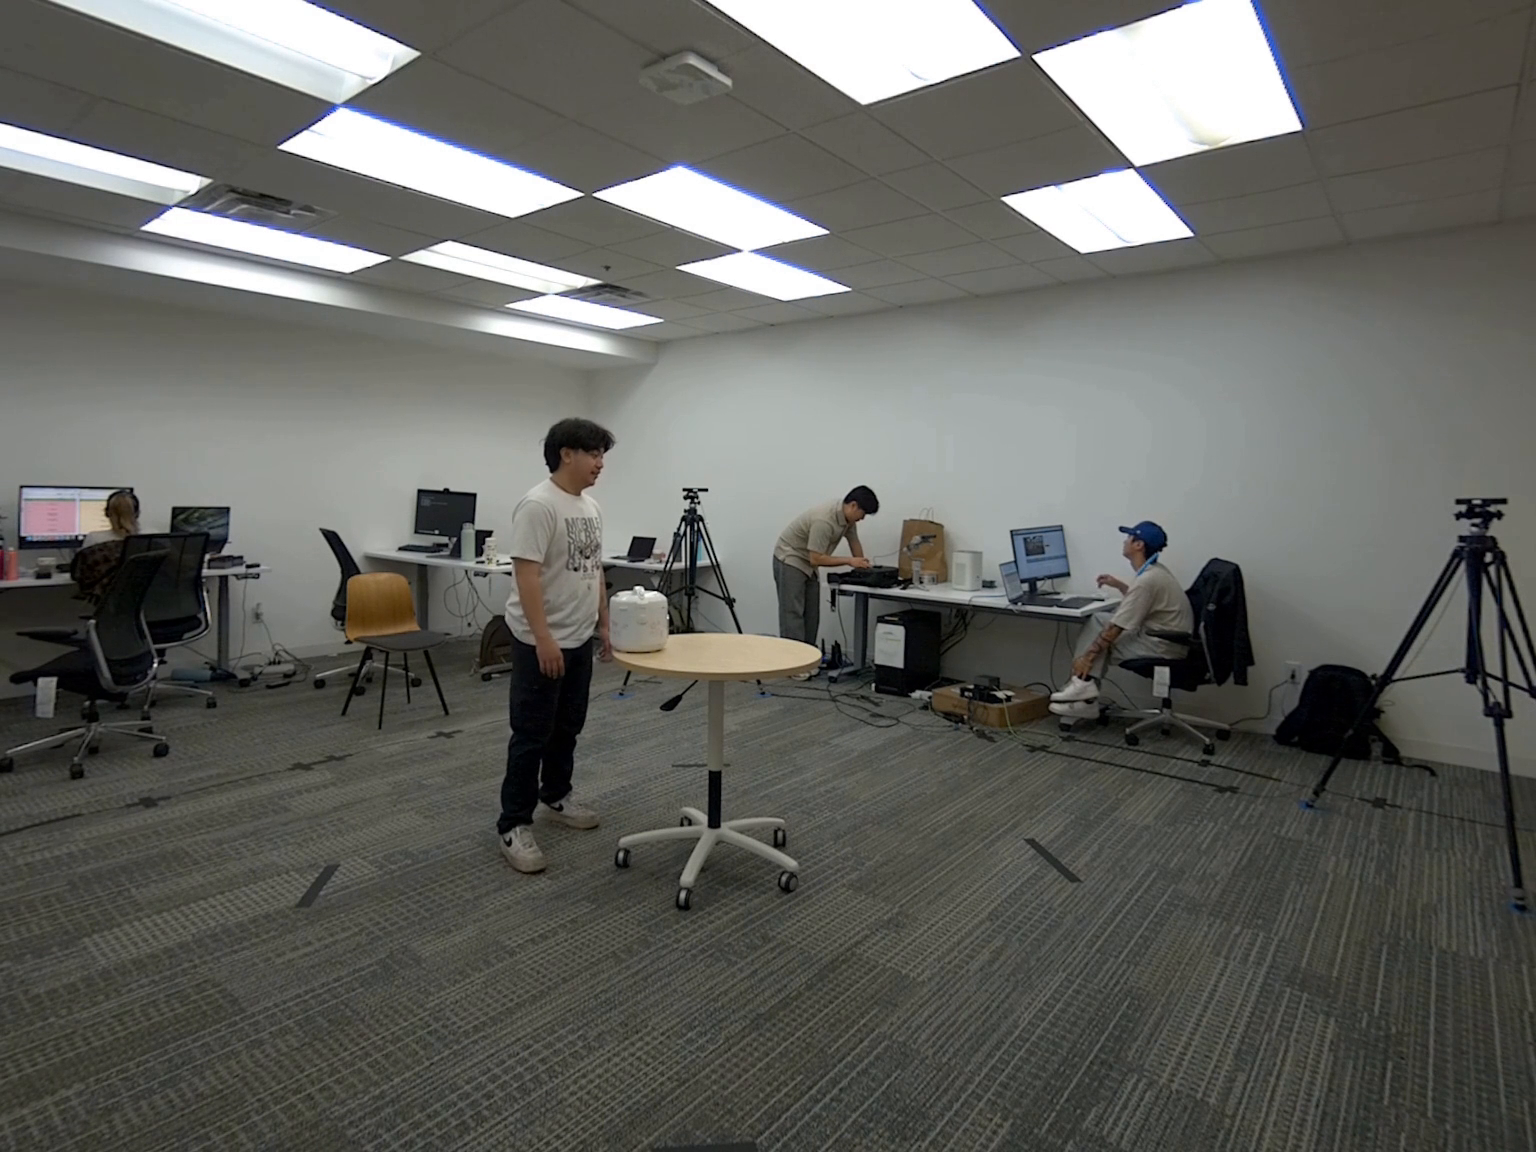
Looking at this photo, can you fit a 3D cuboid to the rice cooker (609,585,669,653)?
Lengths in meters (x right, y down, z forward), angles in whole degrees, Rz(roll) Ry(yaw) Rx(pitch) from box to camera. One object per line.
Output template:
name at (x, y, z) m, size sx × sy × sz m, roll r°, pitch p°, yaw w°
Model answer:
rice cooker at (-0.485, 0.152, 3.130) m, size 0.215 × 0.232 × 0.224 m, roll -1°, pitch 5°, yaw -13°
